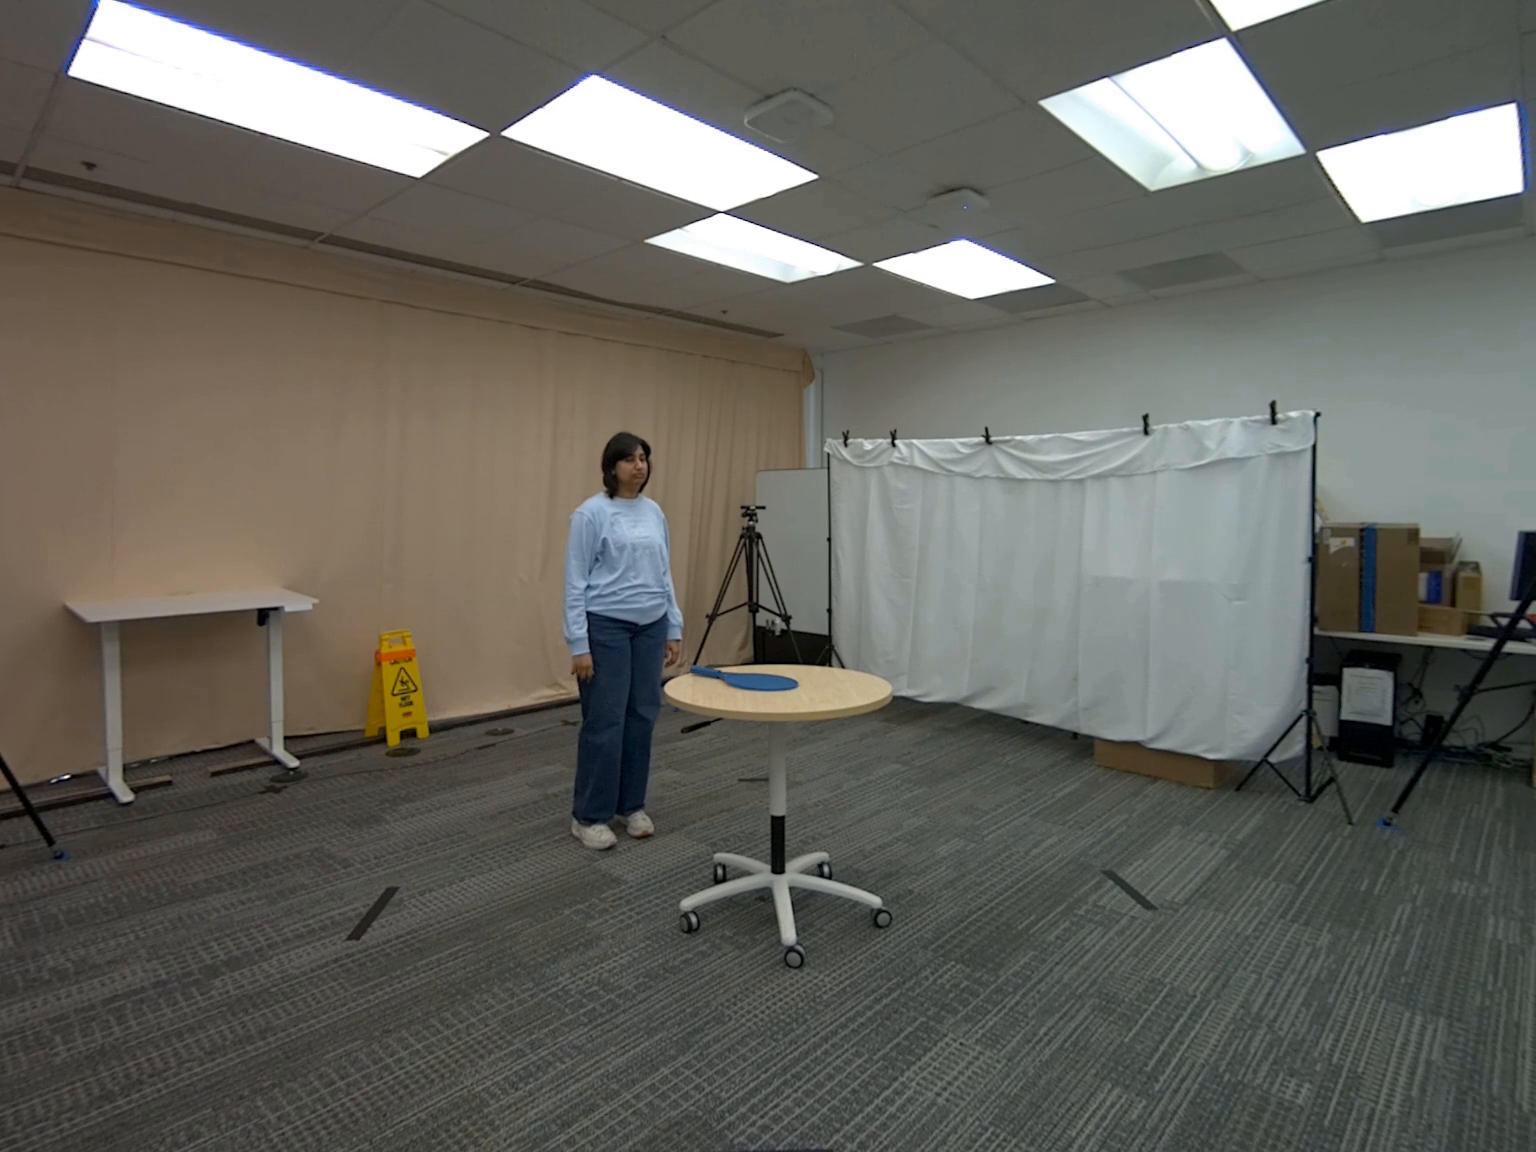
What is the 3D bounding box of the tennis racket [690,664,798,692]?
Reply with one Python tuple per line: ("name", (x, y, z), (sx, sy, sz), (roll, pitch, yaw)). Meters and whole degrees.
("tennis racket", (-0.087, 0.360, 2.920), (0.447, 0.031, 0.208), (5, 7, 35))
